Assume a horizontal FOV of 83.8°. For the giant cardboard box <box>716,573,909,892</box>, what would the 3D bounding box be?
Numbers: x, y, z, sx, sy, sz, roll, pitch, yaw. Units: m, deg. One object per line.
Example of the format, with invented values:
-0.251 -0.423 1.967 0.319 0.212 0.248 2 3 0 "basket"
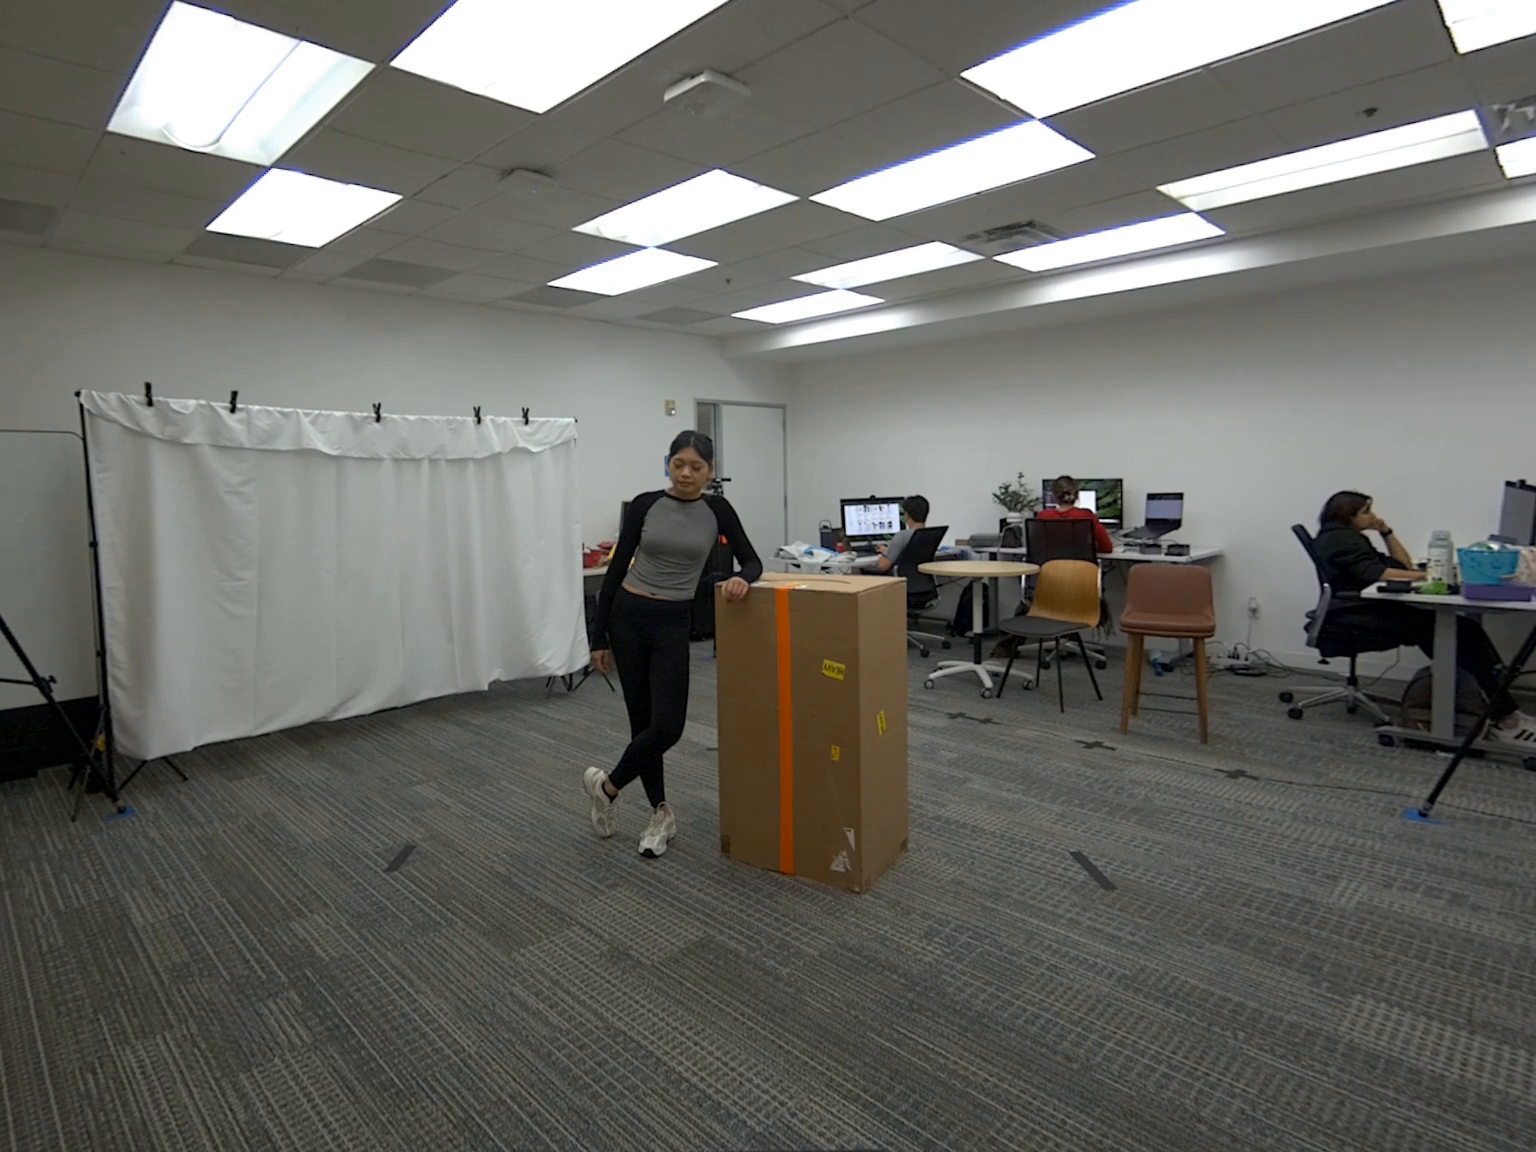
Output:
0.169 0.524 3.150 0.593 1.022 0.416 1 5 33 "giant cardboard box"
